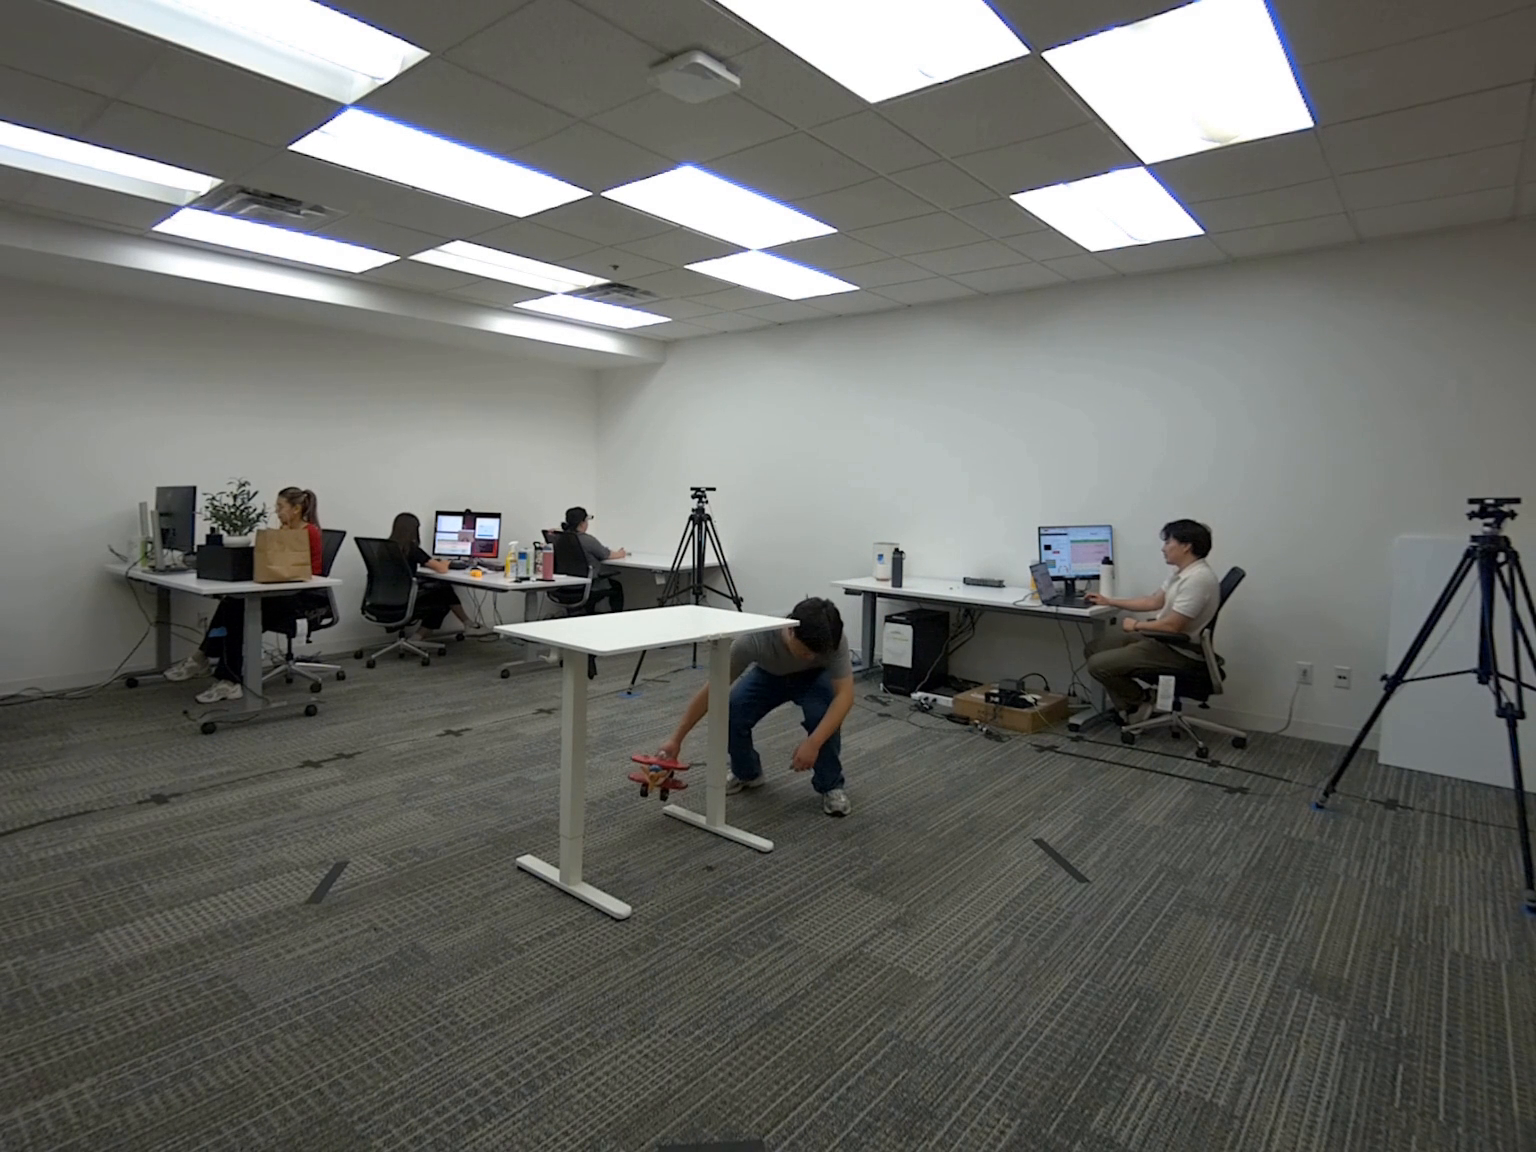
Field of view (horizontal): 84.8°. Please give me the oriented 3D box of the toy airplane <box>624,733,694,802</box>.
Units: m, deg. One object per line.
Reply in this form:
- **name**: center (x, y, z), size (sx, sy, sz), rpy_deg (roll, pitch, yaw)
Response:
- **toy airplane**: center (-0.470, 0.804, 3.566), size (0.247, 0.154, 0.267), rpy_deg (-1, 17, -15)
